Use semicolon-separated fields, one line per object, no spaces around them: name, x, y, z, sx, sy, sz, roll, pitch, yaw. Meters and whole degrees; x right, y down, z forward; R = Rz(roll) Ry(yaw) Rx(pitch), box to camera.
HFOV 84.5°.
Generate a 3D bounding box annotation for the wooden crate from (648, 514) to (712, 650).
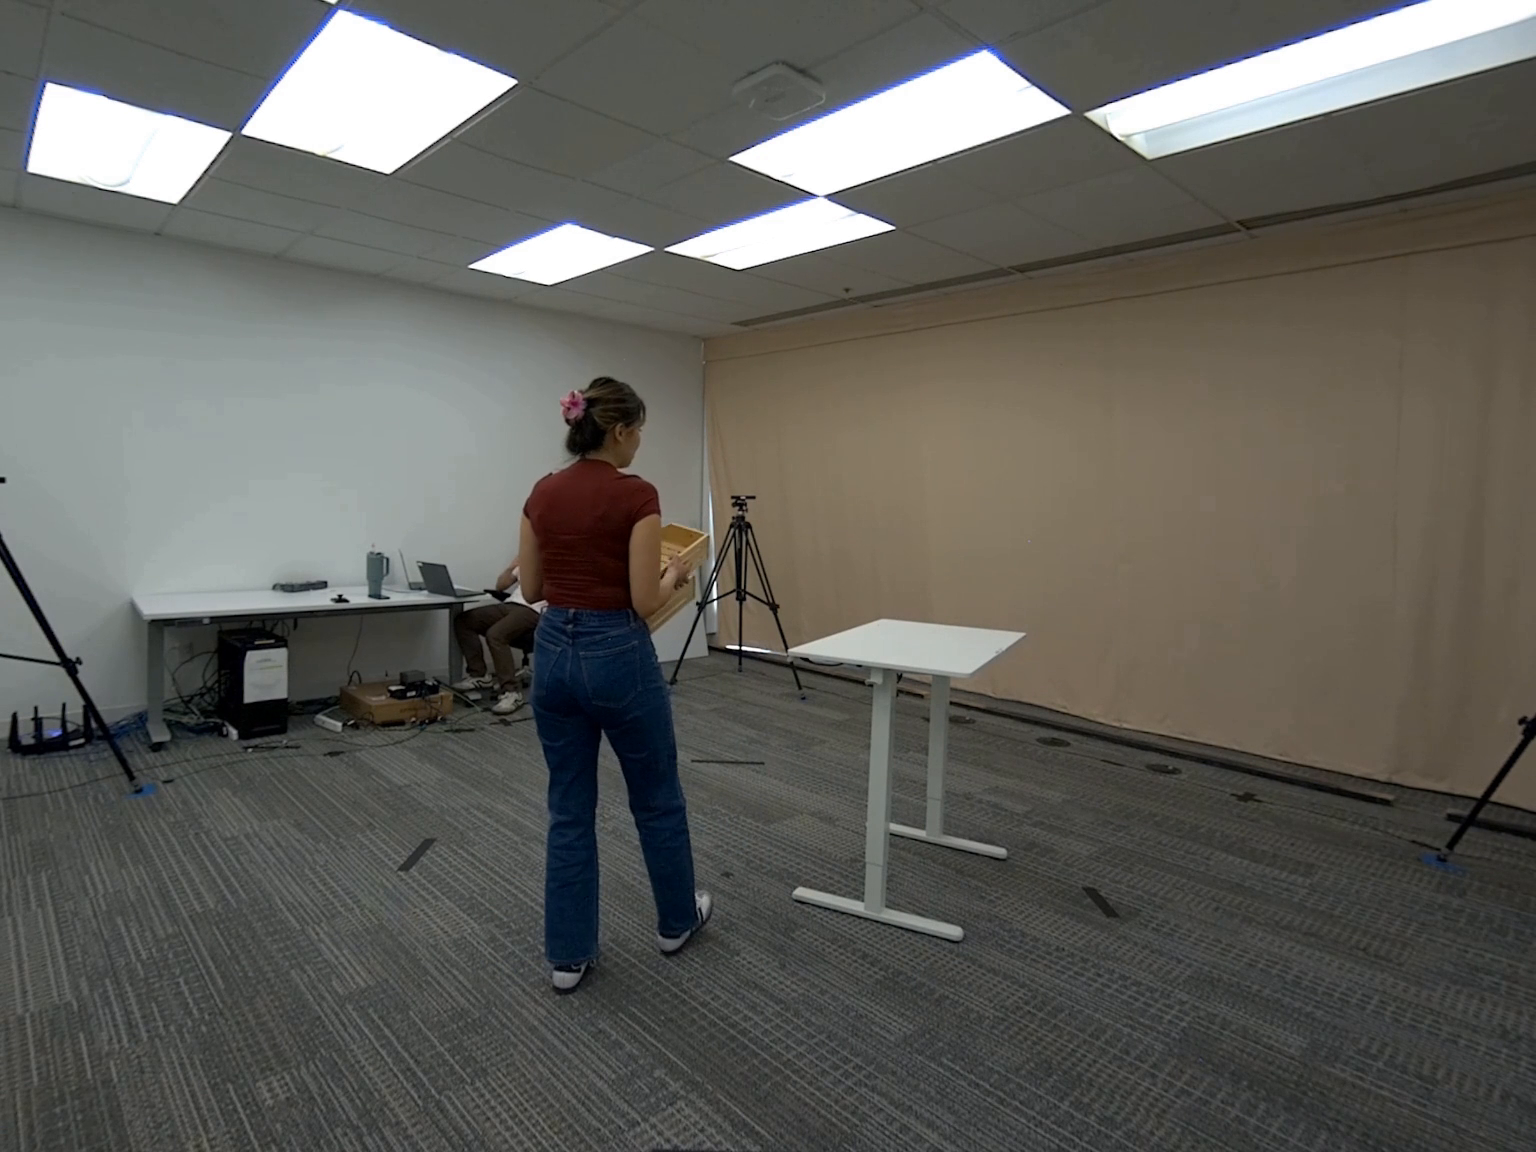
wooden crate;-0.399;-0.004;2.714;0.308;0.268;0.323;18;33;23
